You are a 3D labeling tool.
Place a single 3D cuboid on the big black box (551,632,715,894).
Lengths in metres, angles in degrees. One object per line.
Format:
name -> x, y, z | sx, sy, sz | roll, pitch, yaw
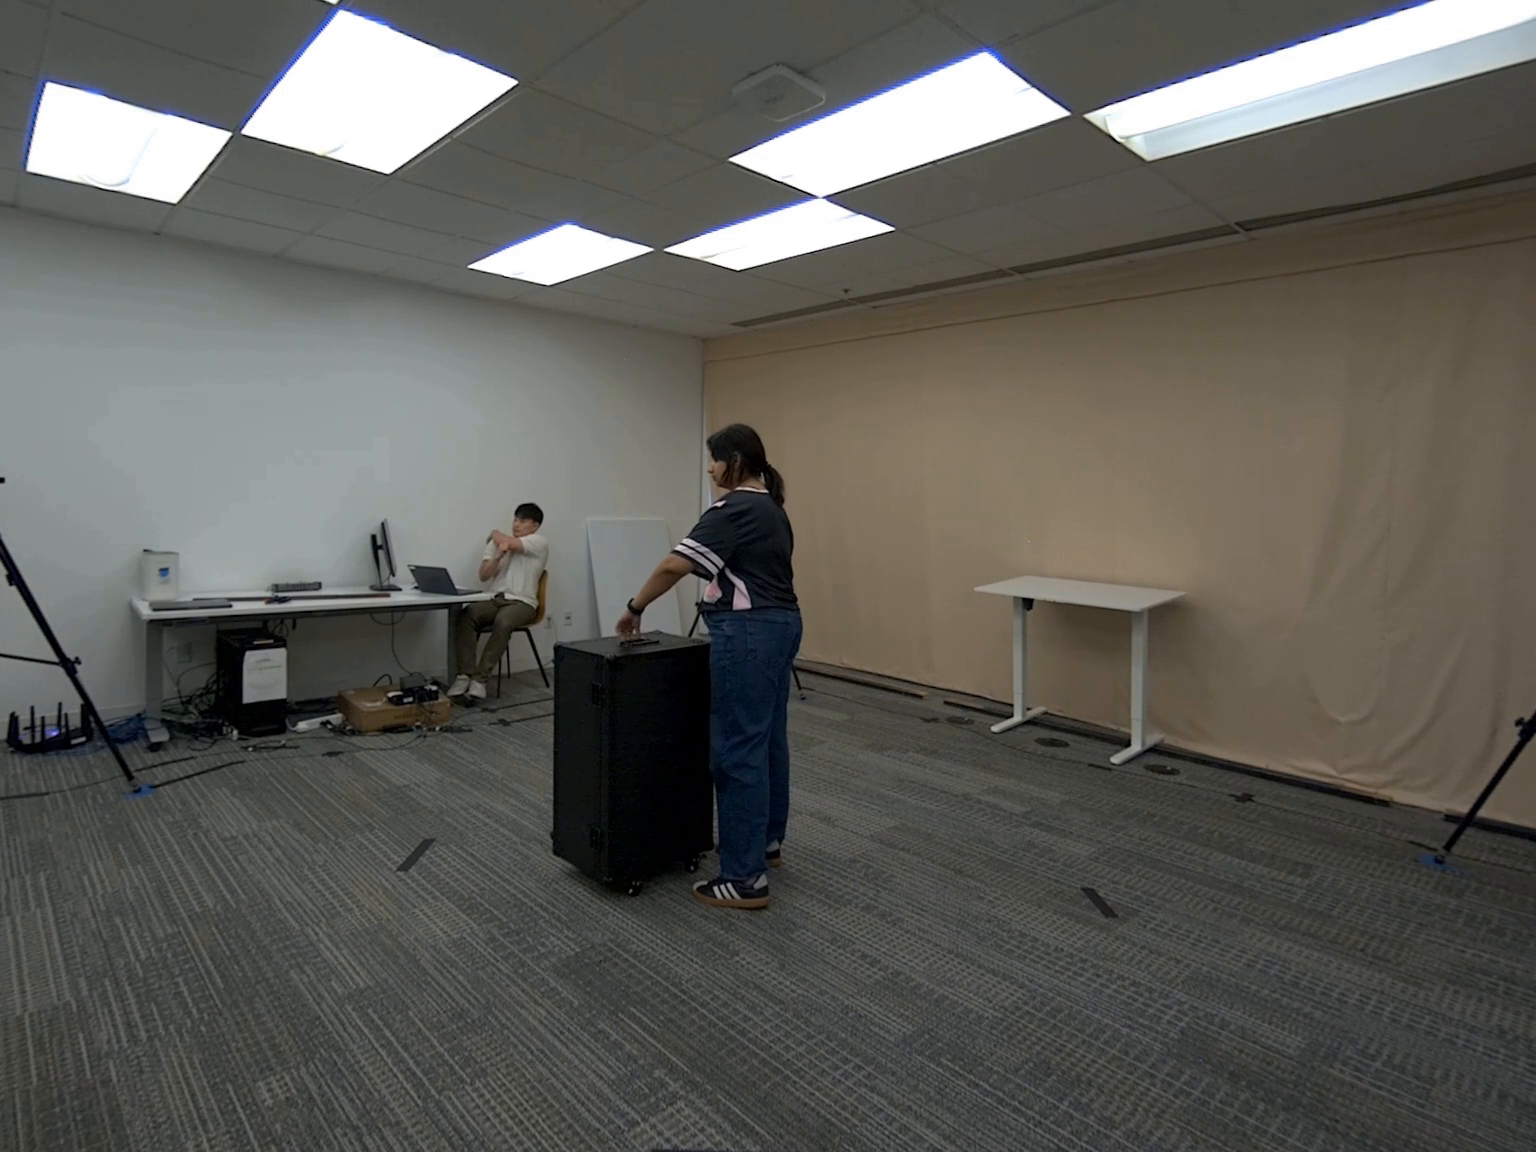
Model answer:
big black box -> -0.507, 0.673, 3.105 | 0.395, 0.867, 0.511 | 4, 4, 45
